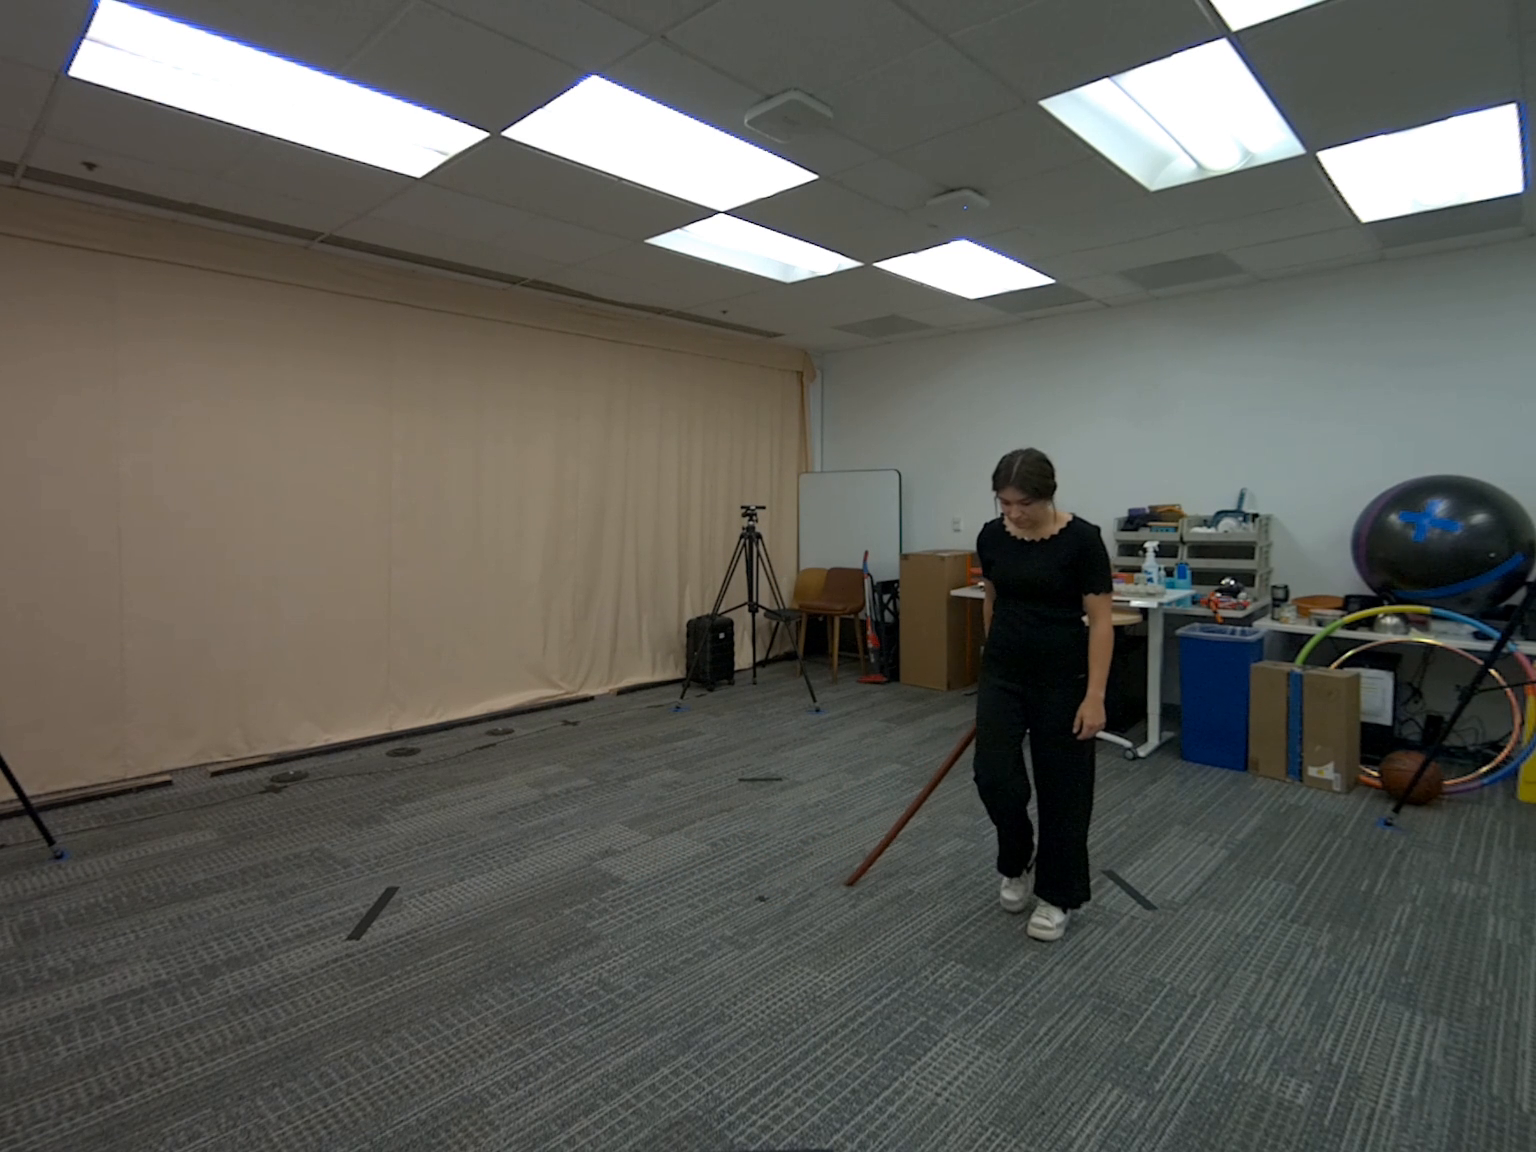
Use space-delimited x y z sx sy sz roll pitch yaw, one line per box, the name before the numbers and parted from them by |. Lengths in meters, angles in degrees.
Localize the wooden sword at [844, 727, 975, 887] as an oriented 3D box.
wooden sword | 0.605 0.733 3.054 0.023 1.025 0.053 34 2 -44
